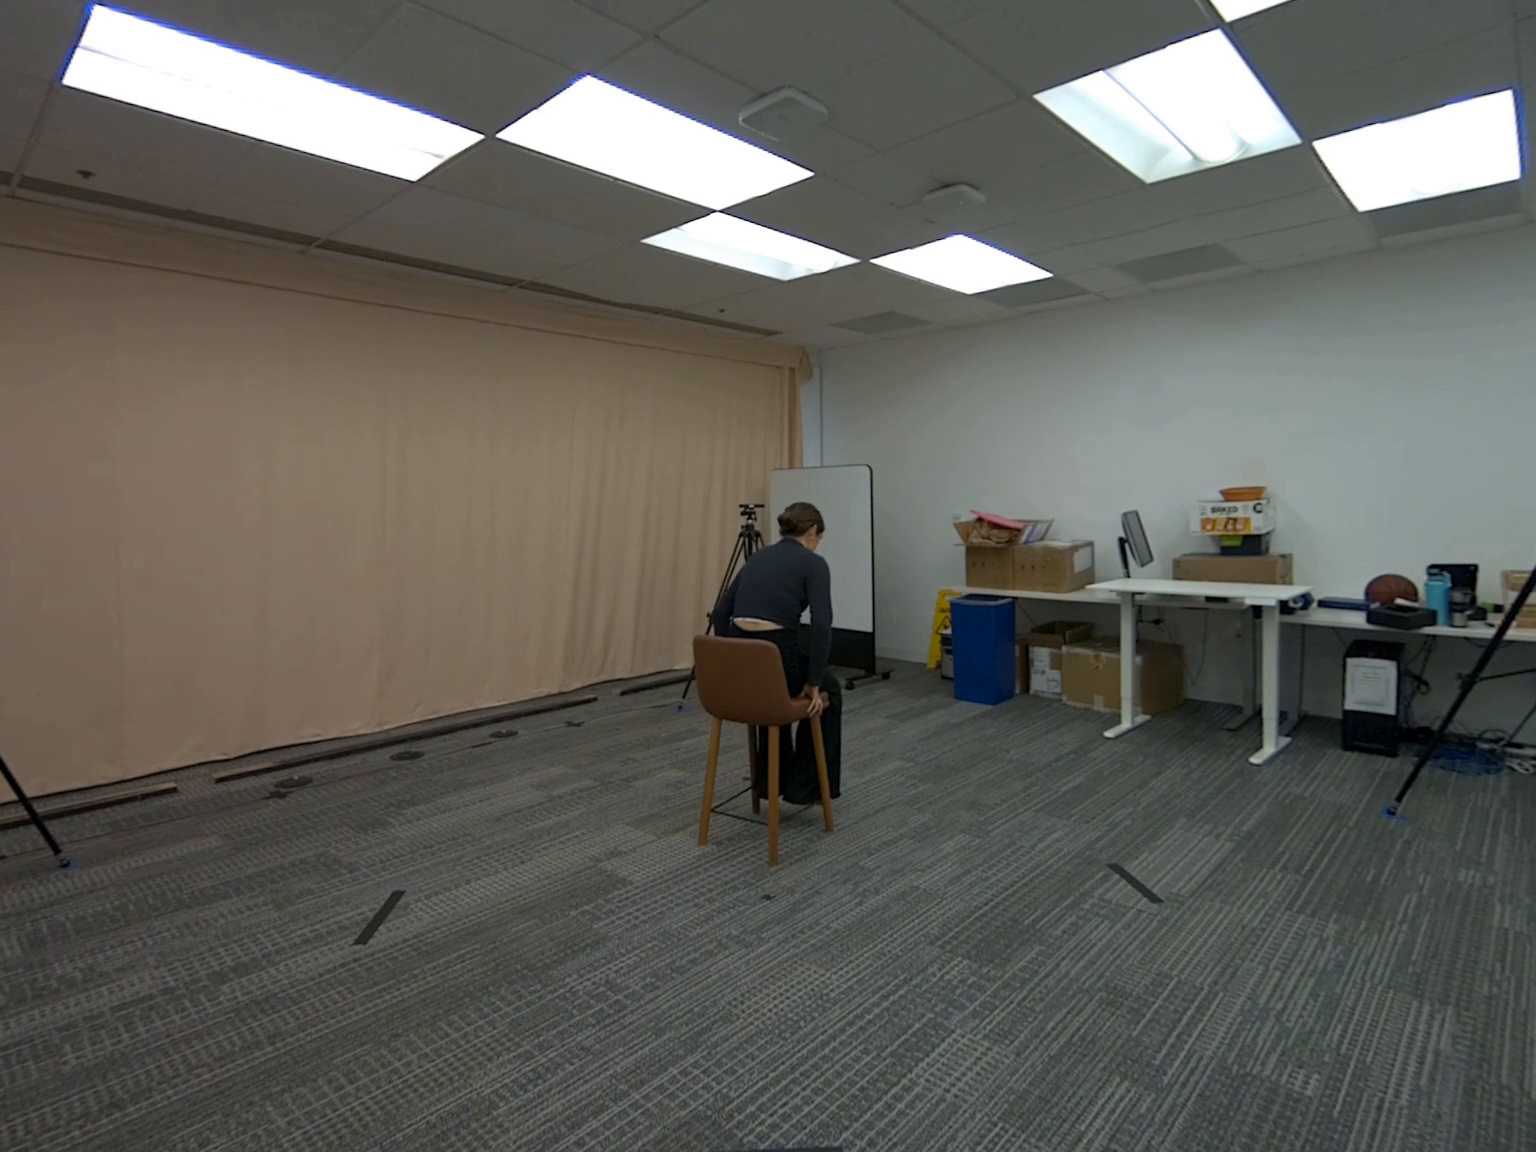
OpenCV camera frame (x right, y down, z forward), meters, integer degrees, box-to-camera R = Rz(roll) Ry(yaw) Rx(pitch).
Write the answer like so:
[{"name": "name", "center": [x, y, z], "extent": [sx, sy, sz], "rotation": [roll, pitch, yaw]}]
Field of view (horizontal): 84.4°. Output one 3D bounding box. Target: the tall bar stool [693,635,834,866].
[{"name": "tall bar stool", "center": [-0.022, 0.660, 3.495], "extent": [0.471, 0.887, 0.454], "rotation": [0, 5, 35]}]
